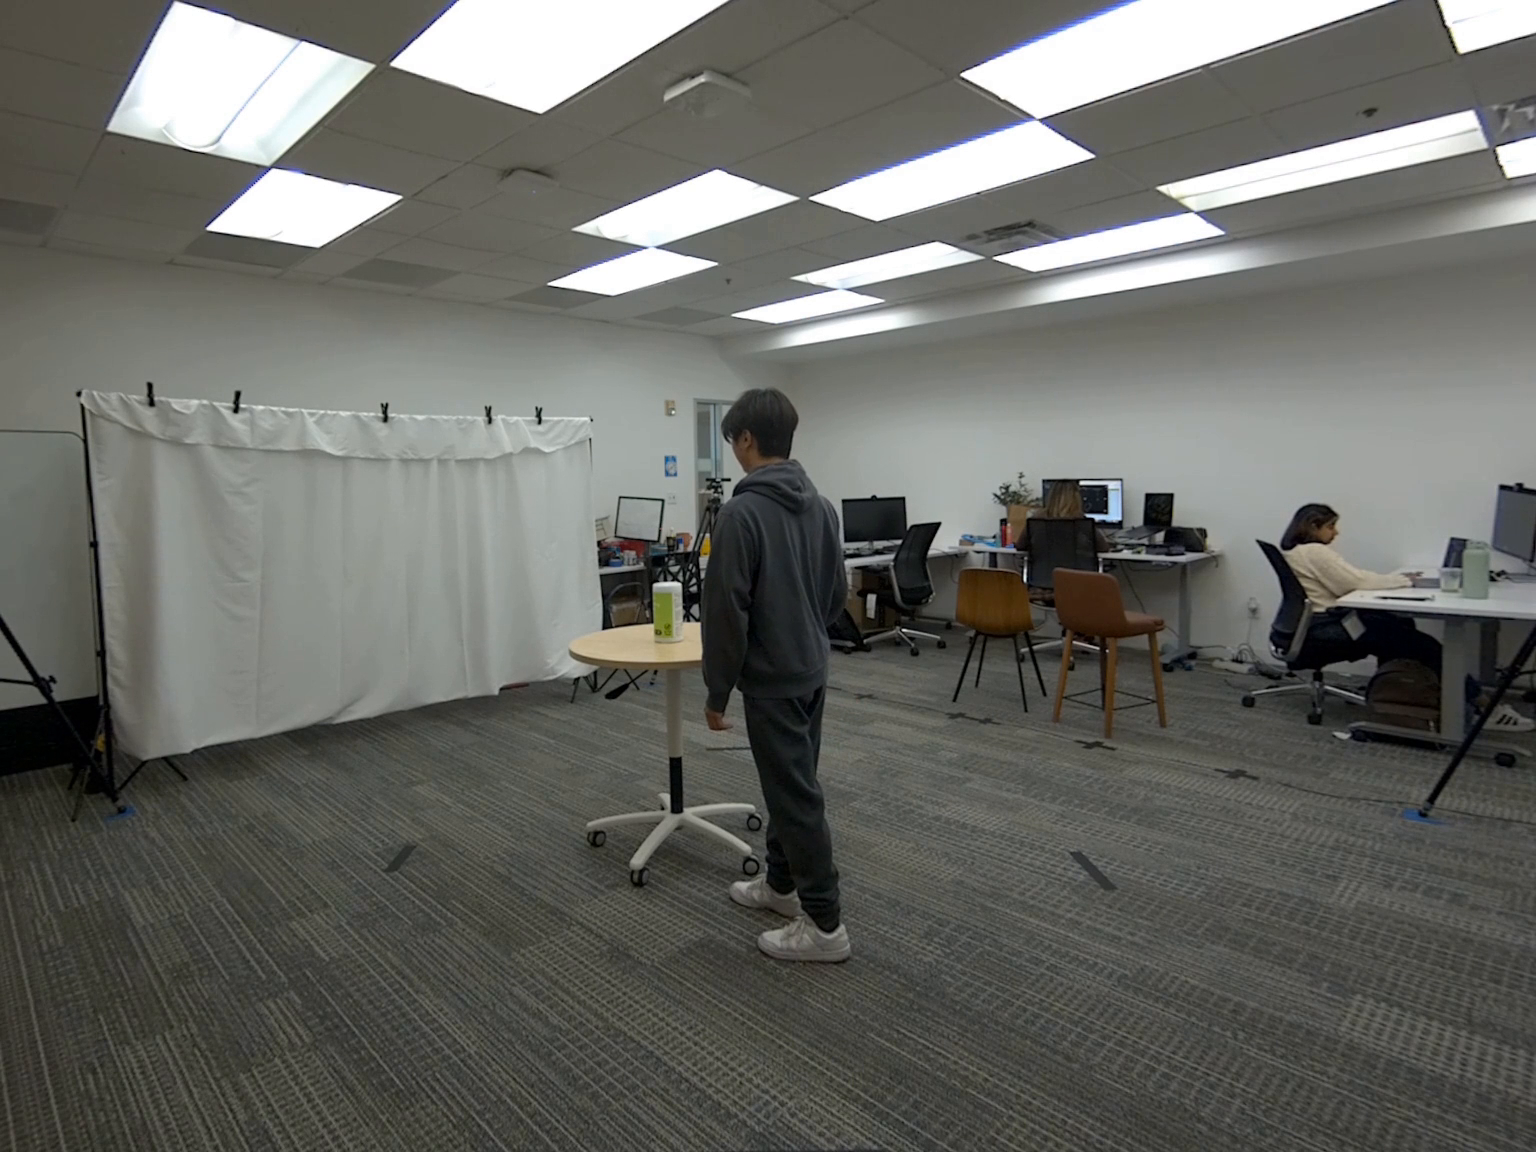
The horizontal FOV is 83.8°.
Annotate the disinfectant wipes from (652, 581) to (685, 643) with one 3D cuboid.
[{"bbox_3d":[-0.372,0.134,3.181,0.118,0.216,0.118,-2,5,-2],"label":"disinfectant wipes"}]
